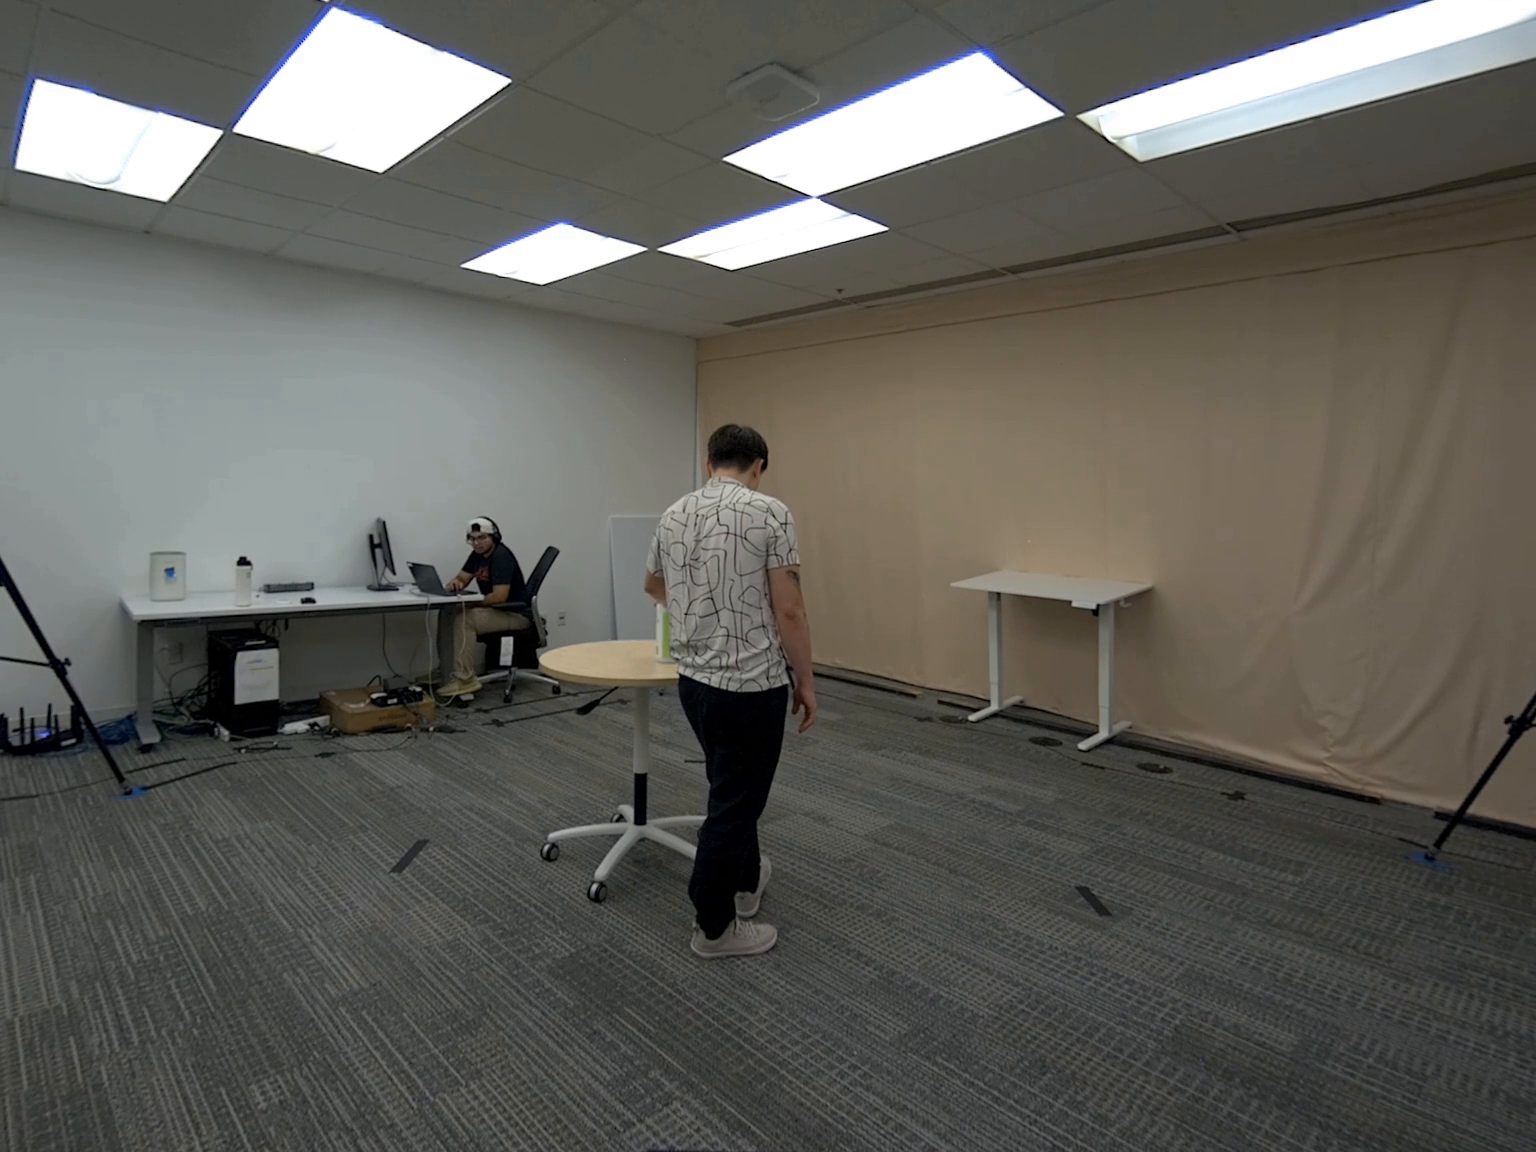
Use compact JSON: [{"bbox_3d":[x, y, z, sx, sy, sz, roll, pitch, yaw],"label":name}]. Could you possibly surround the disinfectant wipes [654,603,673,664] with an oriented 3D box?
[{"bbox_3d":[-0.370,0.214,3.111,0.118,0.217,0.118,3,5,-2],"label":"disinfectant wipes"}]
